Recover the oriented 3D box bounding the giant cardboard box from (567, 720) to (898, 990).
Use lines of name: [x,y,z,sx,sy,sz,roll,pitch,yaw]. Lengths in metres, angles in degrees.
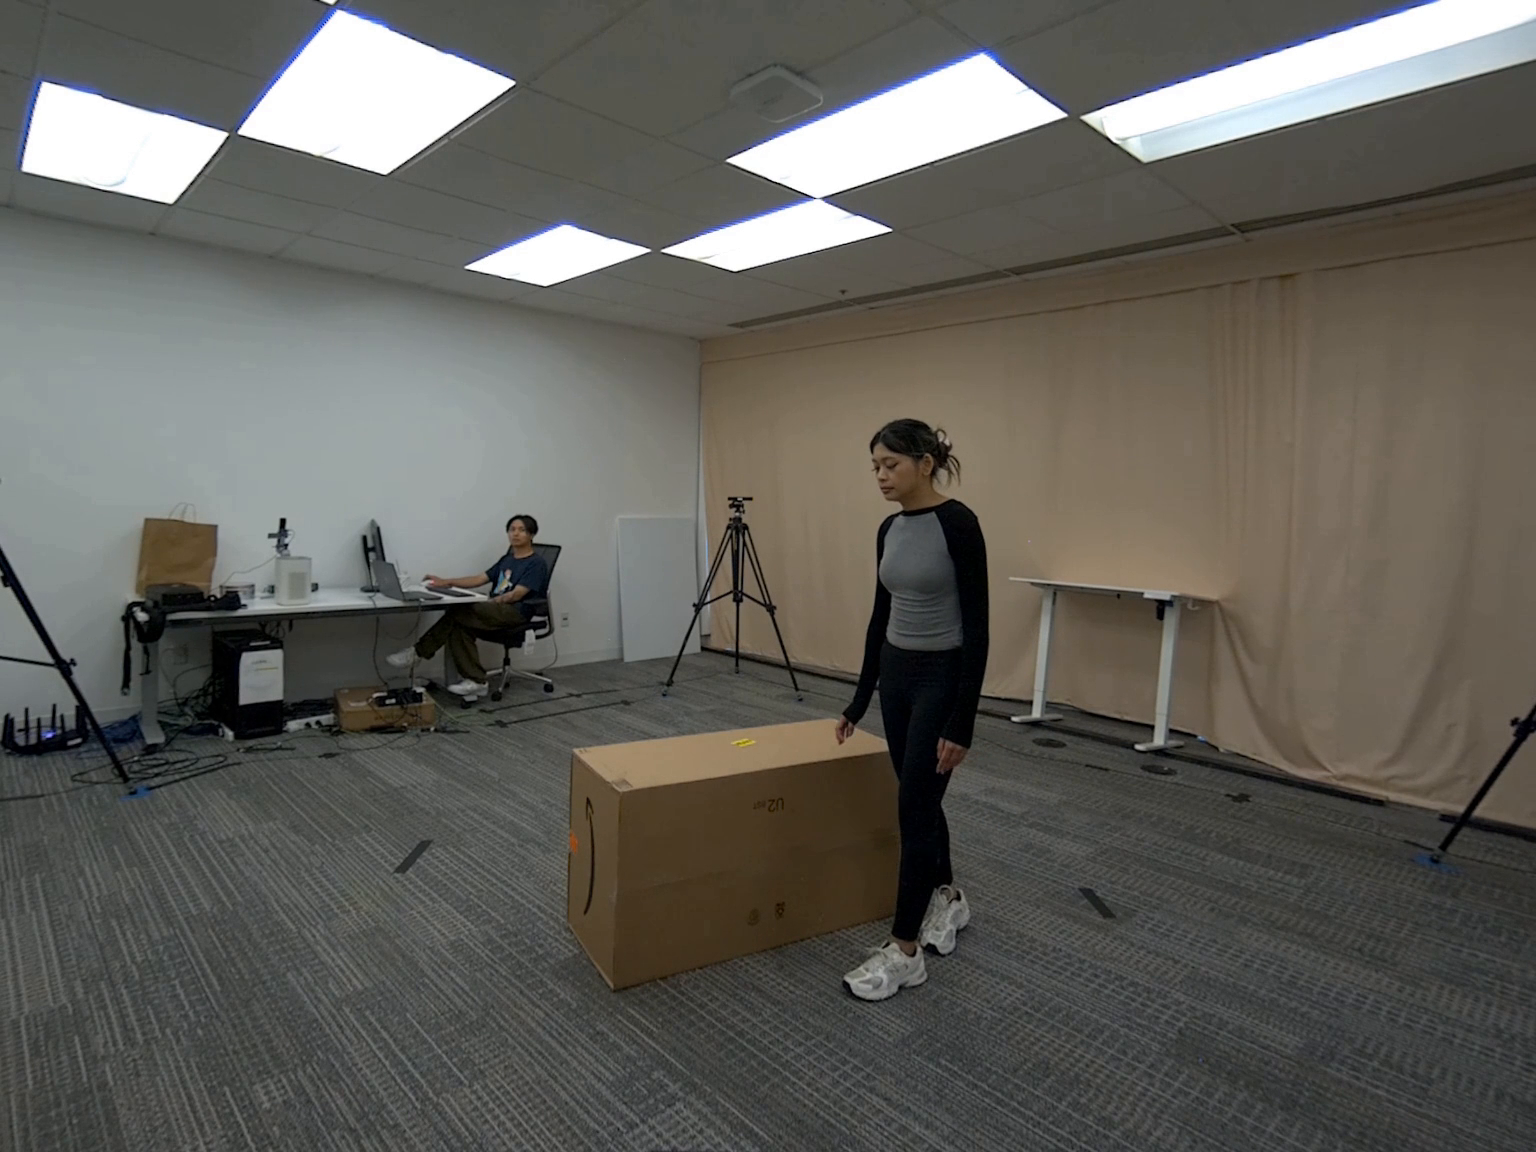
giant cardboard box: [-0.102,0.851,2.771,1.005,0.576,0.436,-1,5,-30]
